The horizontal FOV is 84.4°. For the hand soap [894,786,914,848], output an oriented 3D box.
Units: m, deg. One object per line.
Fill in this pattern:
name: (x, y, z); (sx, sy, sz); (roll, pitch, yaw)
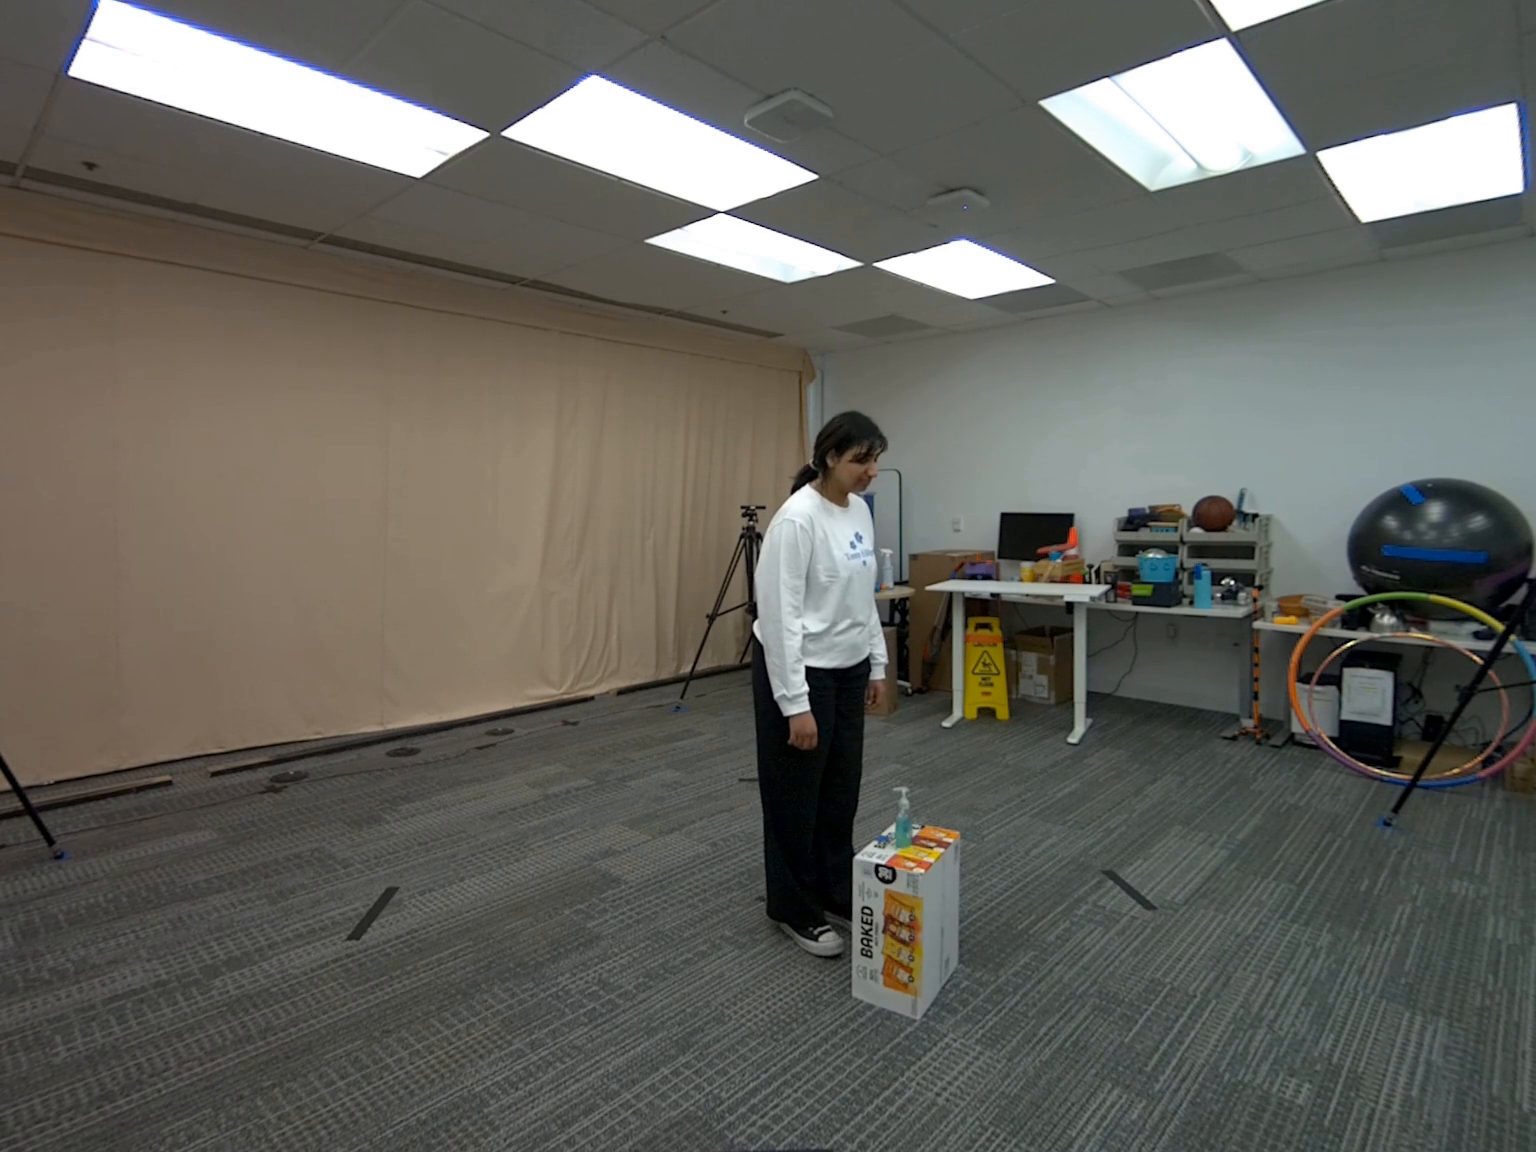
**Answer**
hand soap: (0.396, 0.699, 2.453); (0.045, 0.168, 0.082); (2, 0, 34)
